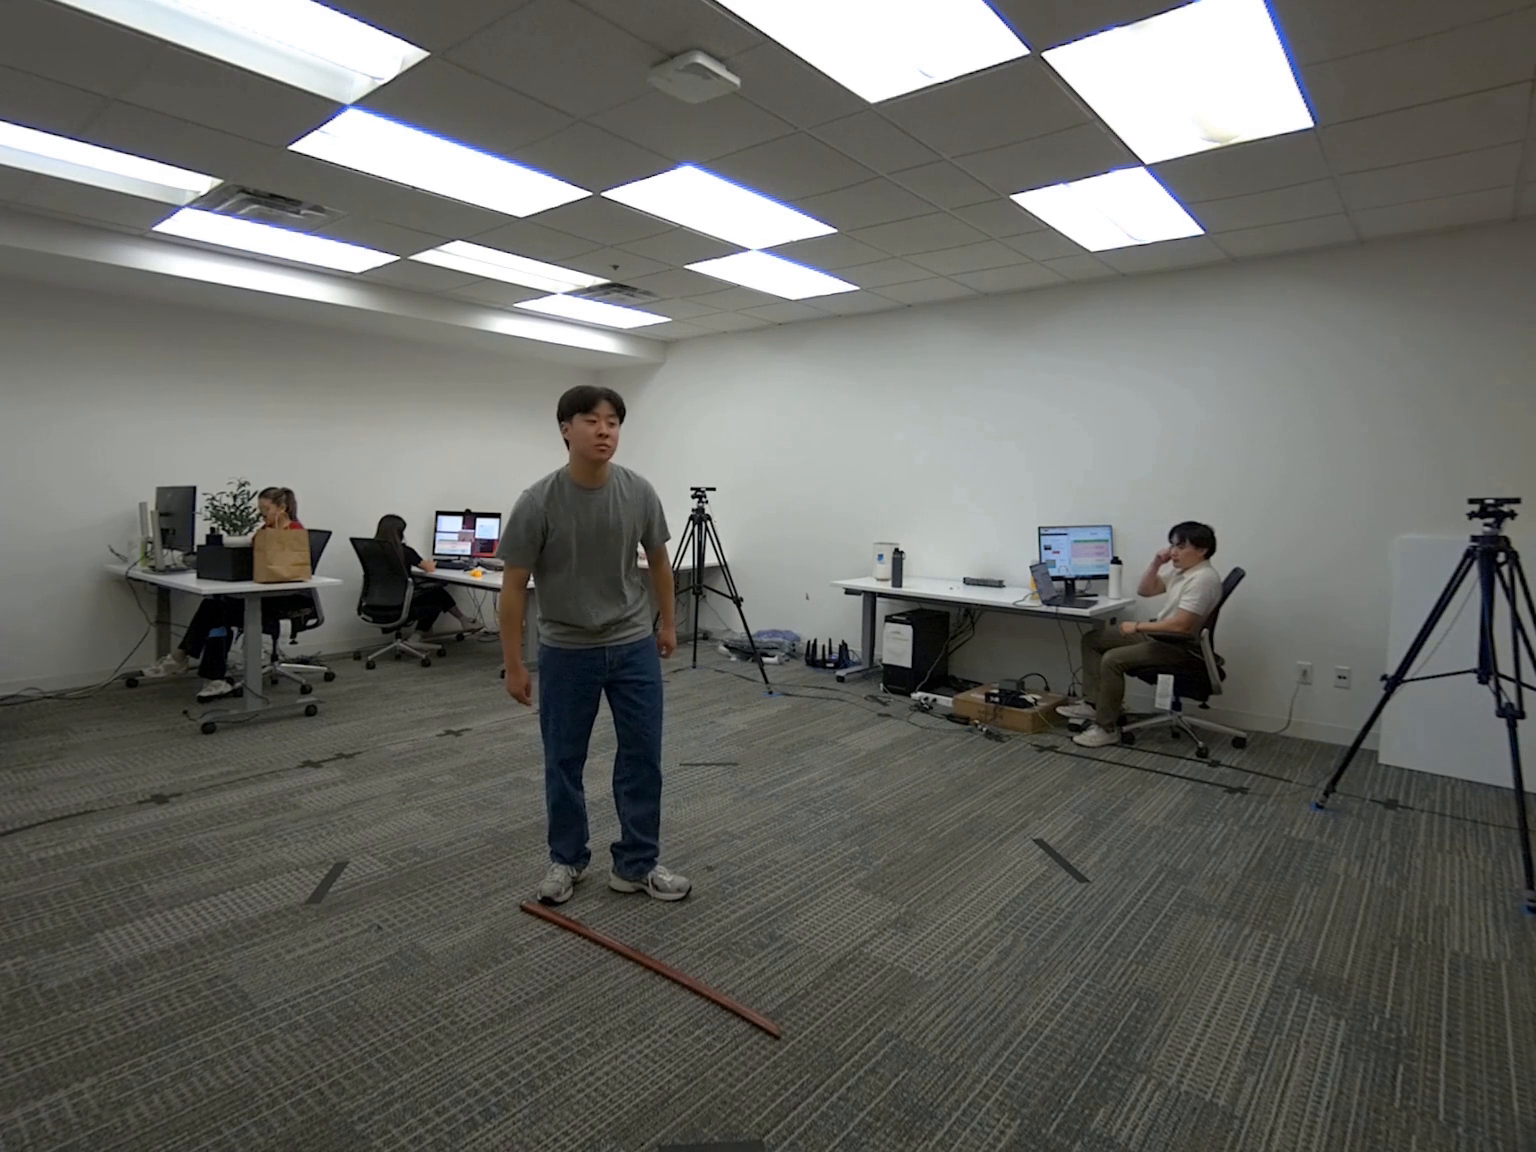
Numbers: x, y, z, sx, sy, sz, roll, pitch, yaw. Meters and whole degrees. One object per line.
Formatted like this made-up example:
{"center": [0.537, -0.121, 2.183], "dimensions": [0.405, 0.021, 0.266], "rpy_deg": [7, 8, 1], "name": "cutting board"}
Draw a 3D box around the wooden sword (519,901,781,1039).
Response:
{"center": [-0.385, 1.107, 2.484], "dimensions": [1.059, 0.024, 0.050], "rpy_deg": [5, 19, 37], "name": "wooden sword"}
